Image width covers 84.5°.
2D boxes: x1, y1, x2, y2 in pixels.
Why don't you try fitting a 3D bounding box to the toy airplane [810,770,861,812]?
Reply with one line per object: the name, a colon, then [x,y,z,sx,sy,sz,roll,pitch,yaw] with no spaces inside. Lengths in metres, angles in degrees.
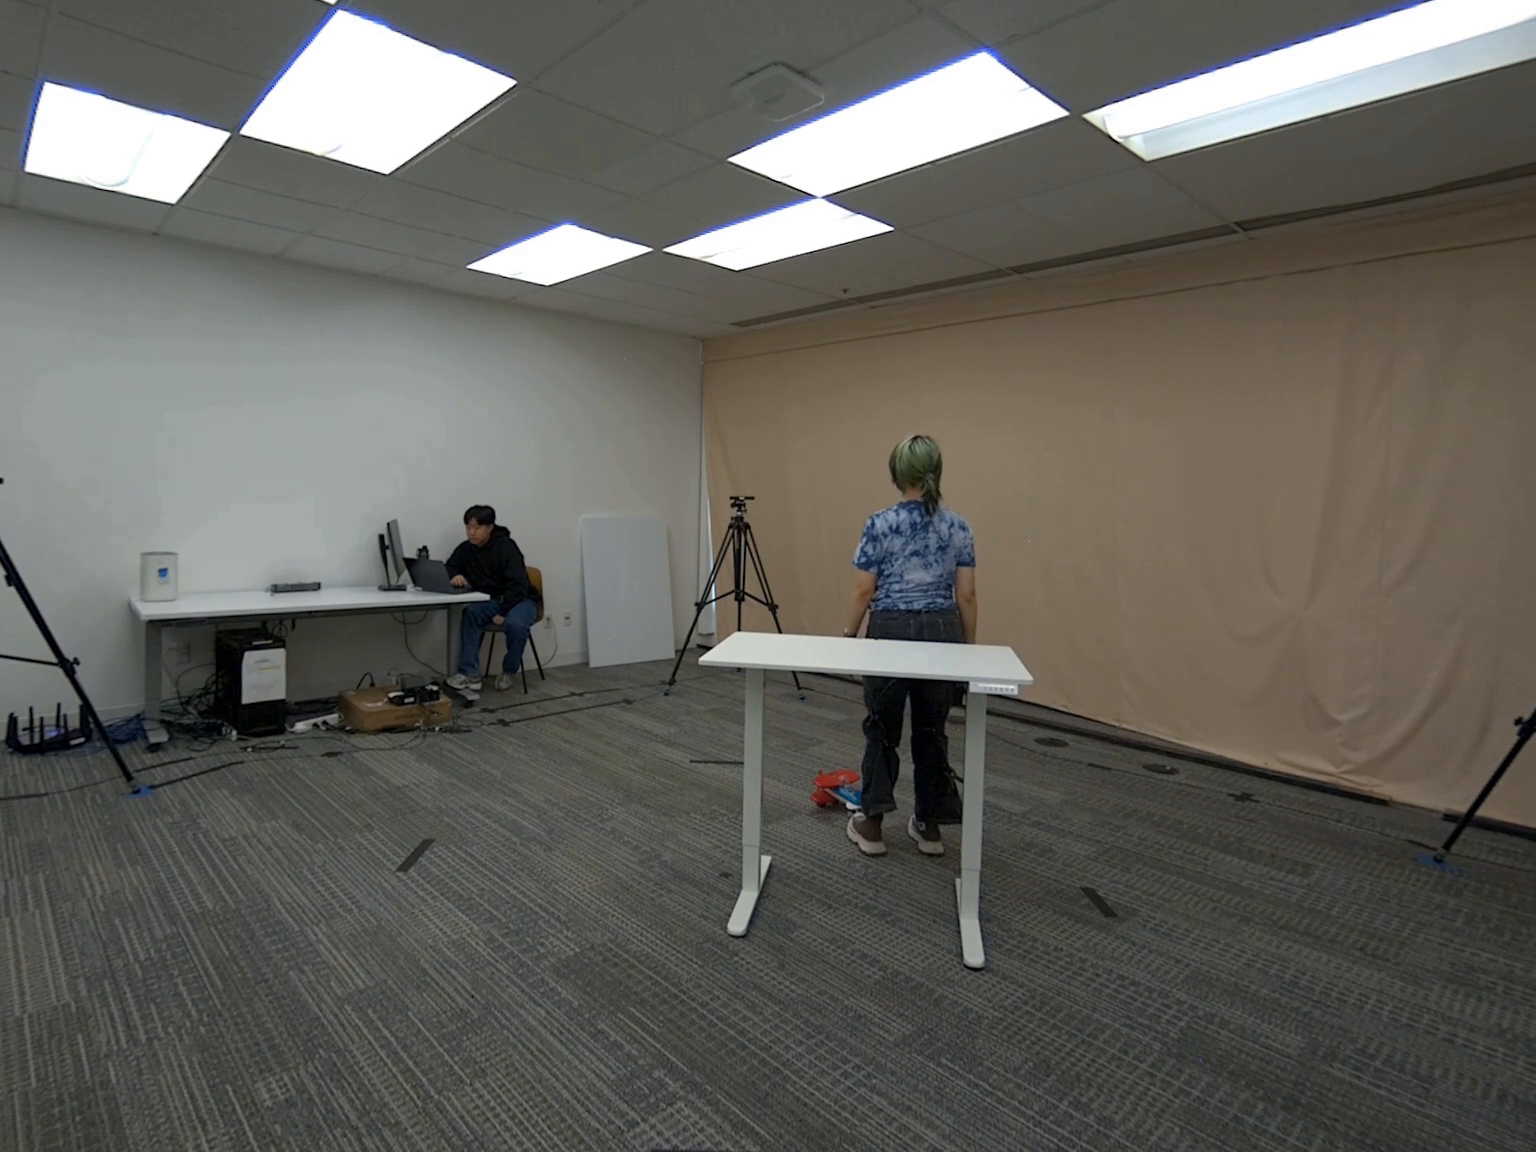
toy airplane: [0.331,0.981,3.811,0.264,0.156,0.247,2,4,26]
